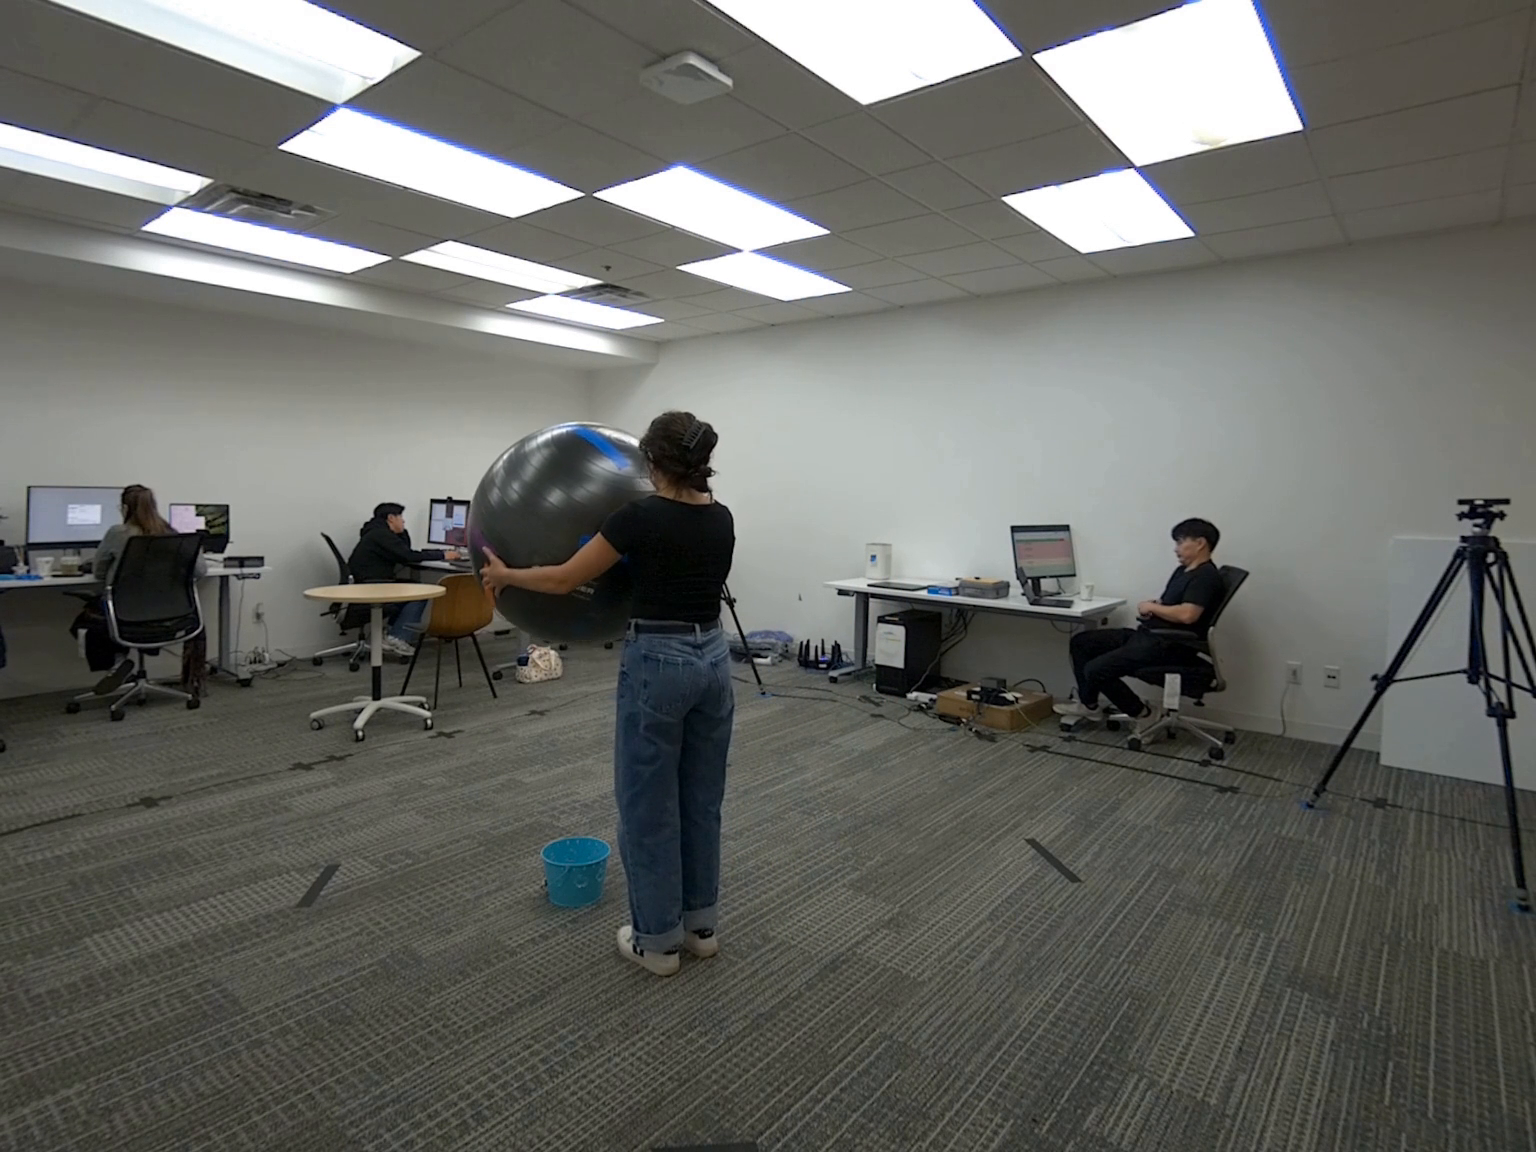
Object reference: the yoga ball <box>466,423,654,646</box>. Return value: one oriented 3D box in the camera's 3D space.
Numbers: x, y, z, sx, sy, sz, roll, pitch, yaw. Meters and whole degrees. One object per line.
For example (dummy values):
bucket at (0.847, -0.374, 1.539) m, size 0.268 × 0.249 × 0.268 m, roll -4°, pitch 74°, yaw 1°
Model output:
yoga ball at (-0.637, -0.136, 2.896) m, size 0.757 × 0.755 × 0.762 m, roll 1°, pitch 4°, yaw -2°
